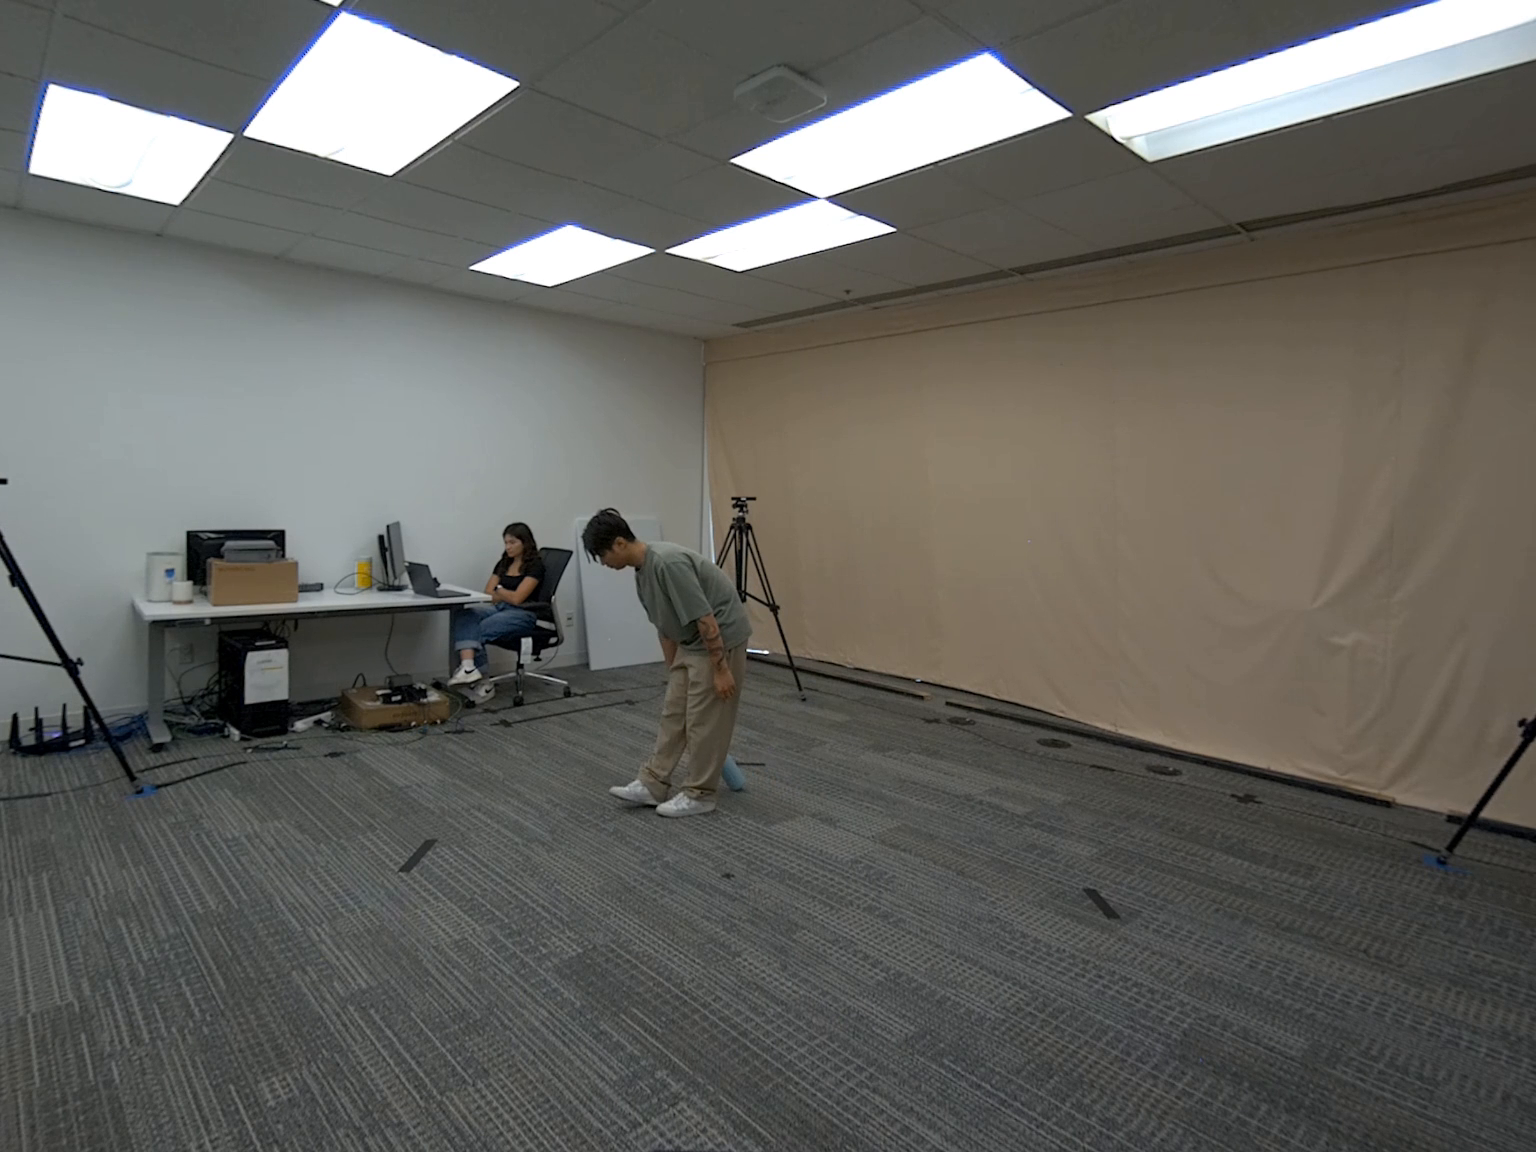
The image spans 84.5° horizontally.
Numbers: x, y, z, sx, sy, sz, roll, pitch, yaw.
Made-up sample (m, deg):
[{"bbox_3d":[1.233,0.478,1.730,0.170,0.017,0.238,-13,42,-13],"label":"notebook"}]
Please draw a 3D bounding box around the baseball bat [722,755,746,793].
[{"bbox_3d":[-0.296,0.795,4.023,0.089,0.540,0.089,-33,5,2],"label":"baseball bat"}]
